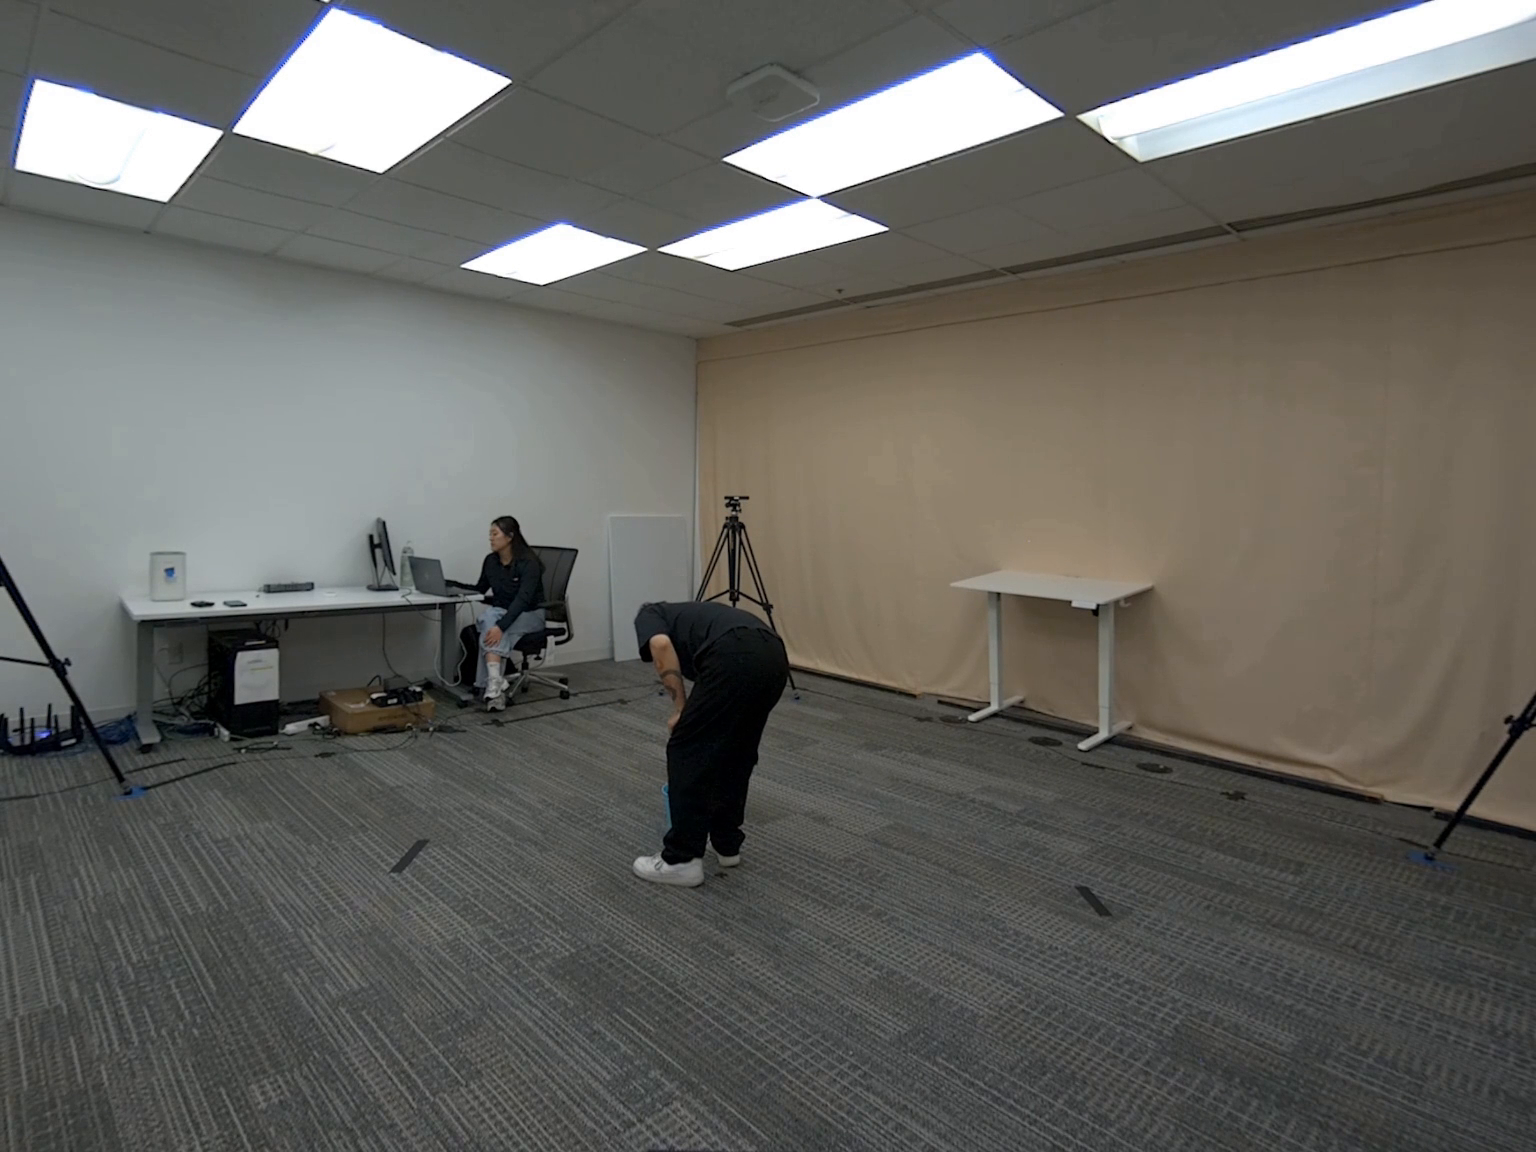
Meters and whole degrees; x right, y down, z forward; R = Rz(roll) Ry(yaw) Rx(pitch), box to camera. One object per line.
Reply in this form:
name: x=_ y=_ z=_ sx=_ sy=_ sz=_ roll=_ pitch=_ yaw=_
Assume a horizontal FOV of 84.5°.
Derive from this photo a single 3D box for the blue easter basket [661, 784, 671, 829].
blue easter basket: x=-0.335 y=0.983 z=3.583 sx=0.243 sy=0.155 sz=0.244 roll=1 pitch=4 yaw=-1
